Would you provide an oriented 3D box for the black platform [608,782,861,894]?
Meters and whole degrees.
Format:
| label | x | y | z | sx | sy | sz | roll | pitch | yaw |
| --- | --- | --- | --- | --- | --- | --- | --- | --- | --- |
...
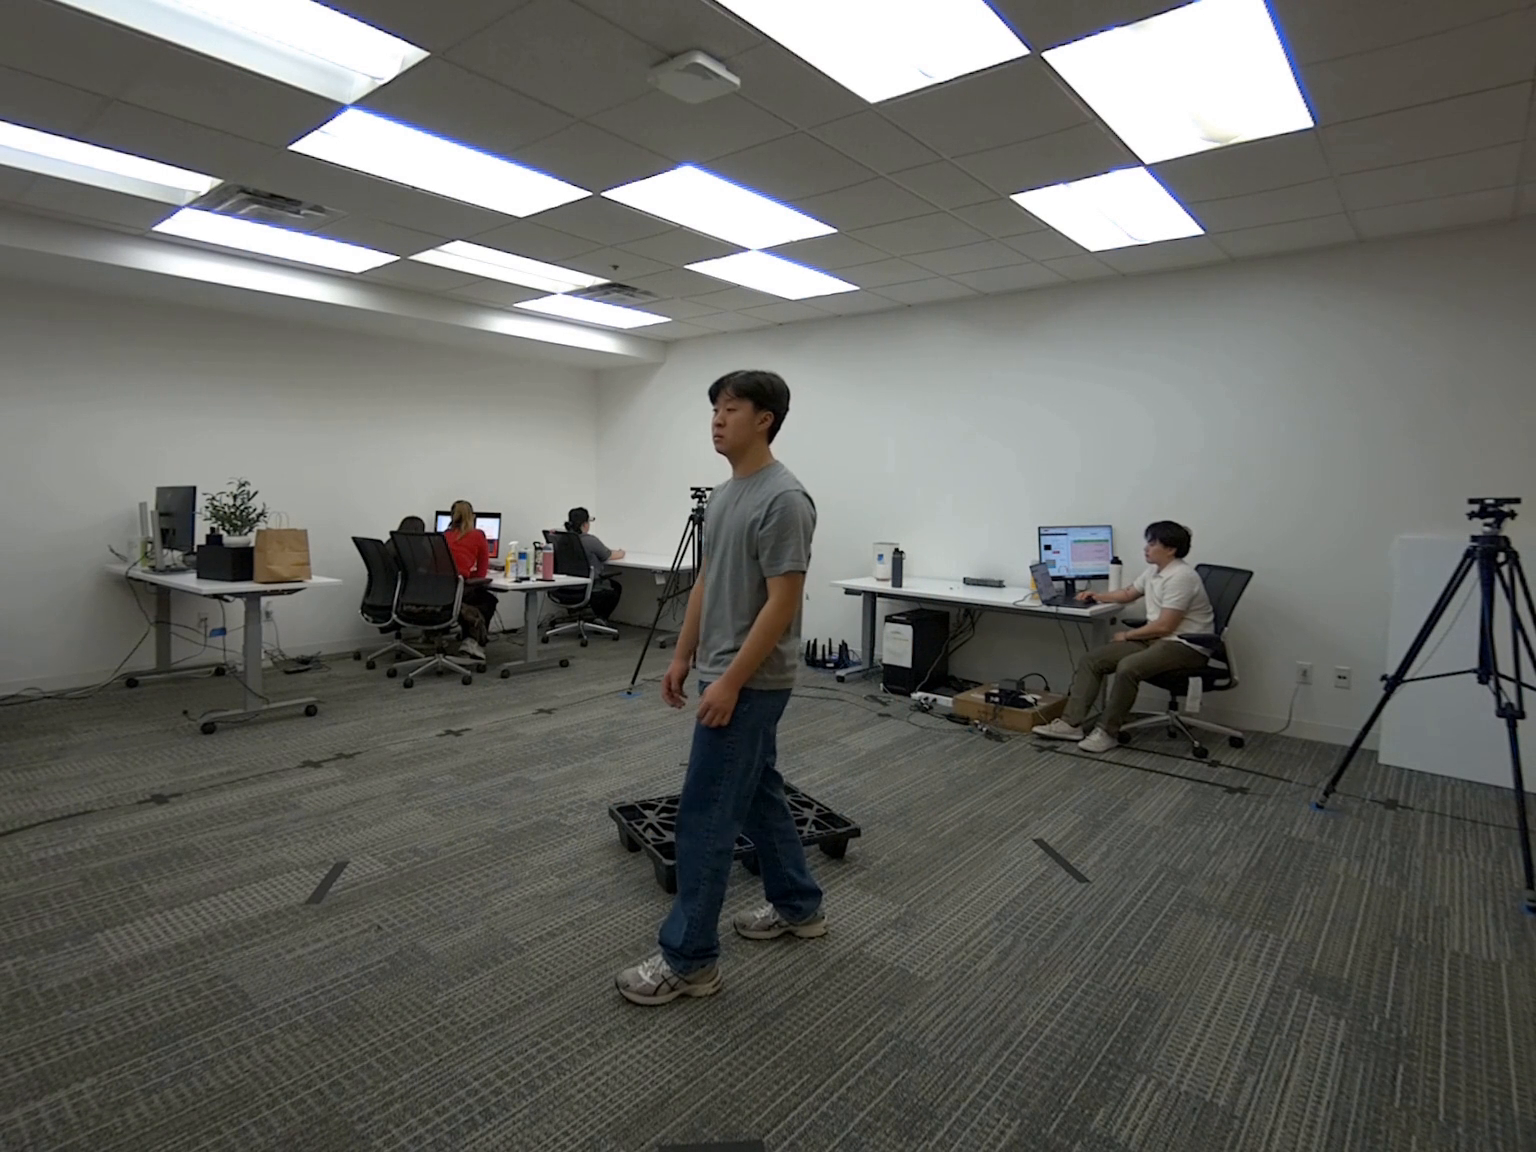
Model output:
| label | x | y | z | sx | sy | sz | roll | pitch | yaw |
| --- | --- | --- | --- | --- | --- | --- | --- | --- | --- |
| black platform | -0.145 | 0.982 | 3.267 | 0.785 | 0.143 | 0.623 | -2 | 7 | -28 |
